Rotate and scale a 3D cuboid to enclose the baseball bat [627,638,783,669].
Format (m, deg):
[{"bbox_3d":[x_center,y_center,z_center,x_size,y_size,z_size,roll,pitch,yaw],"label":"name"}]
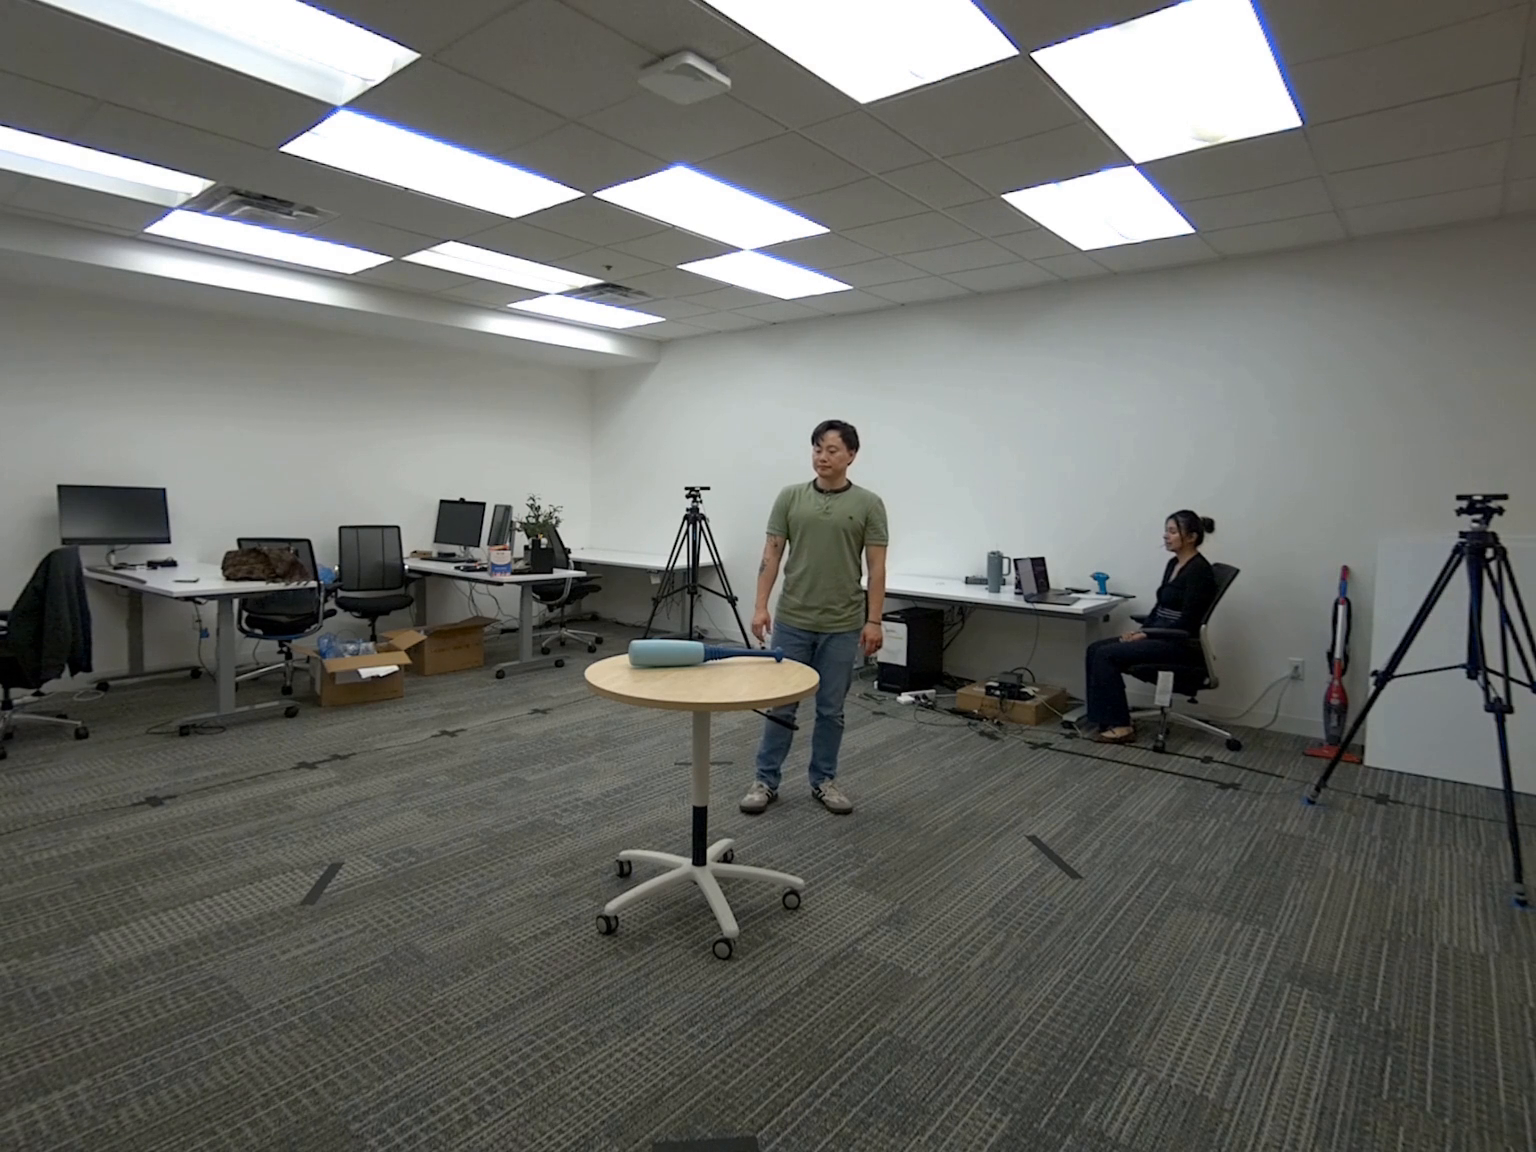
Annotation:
[{"bbox_3d":[-0.216,0.263,2.910,0.534,0.089,0.091,2,4,-14],"label":"baseball bat"}]
